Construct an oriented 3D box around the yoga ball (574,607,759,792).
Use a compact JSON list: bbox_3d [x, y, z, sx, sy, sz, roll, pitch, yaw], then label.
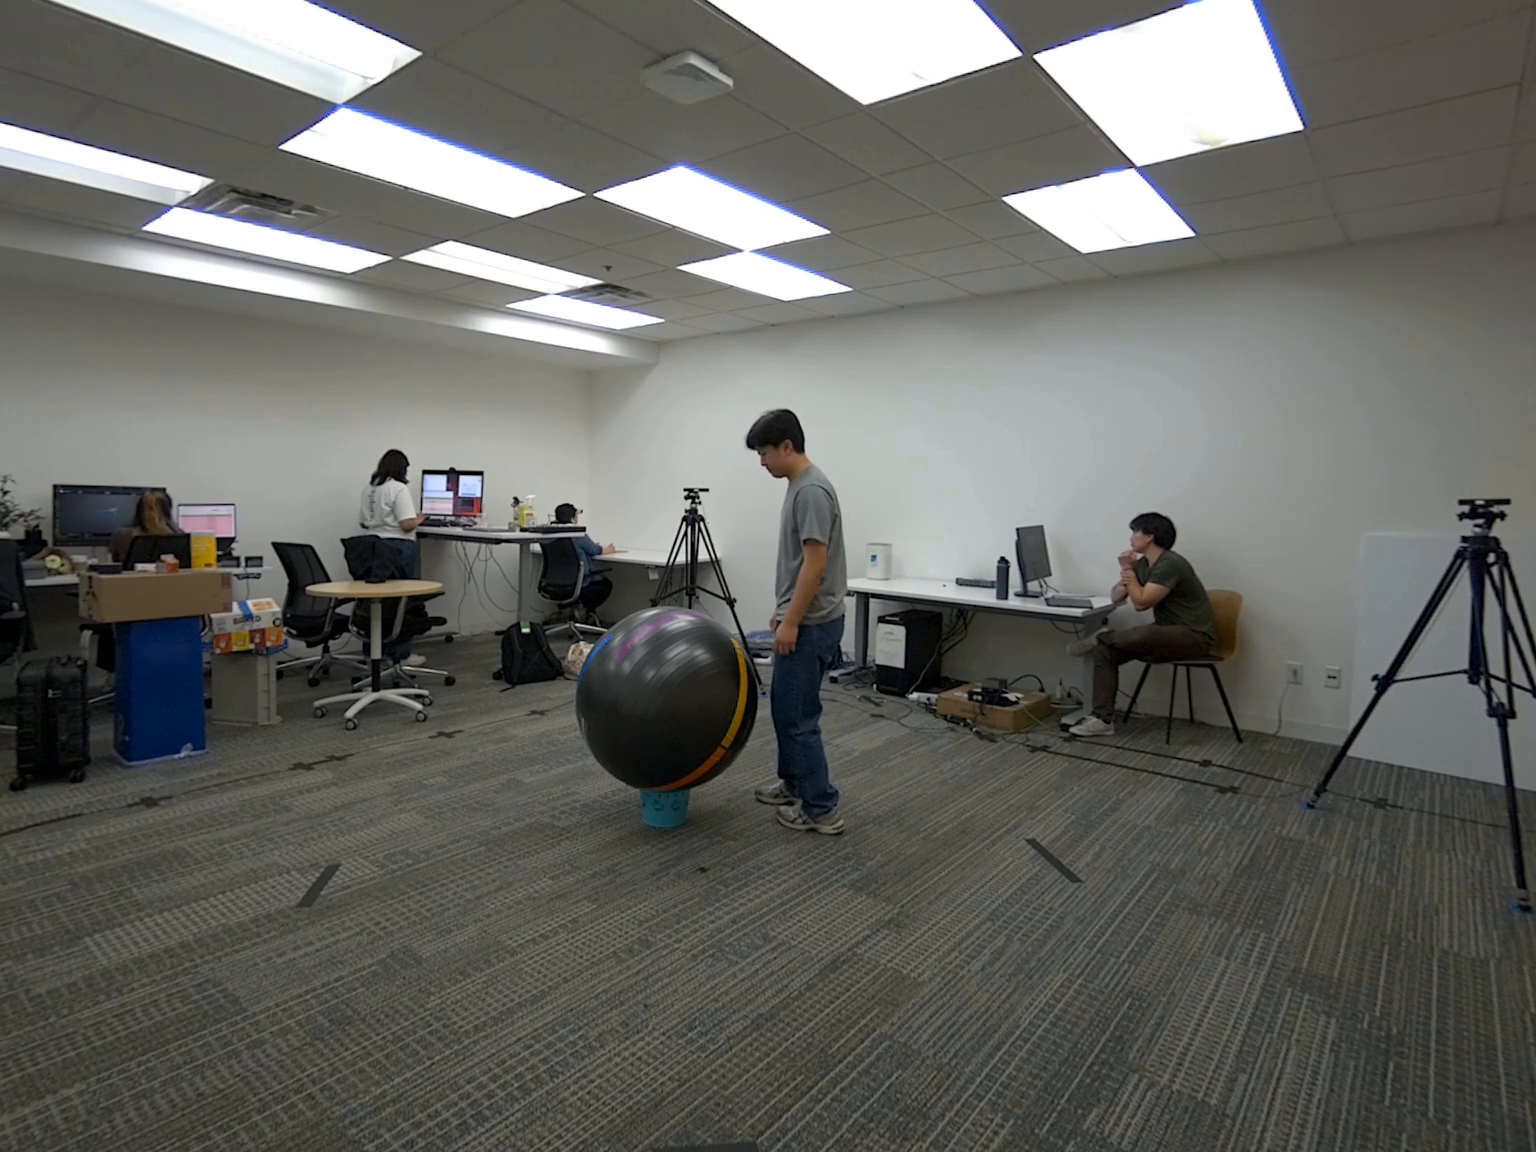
[{"bbox_3d":[-0.444,0.512,3.566,0.757,0.755,0.762,1,4,-2],"label":"yoga ball"}]
